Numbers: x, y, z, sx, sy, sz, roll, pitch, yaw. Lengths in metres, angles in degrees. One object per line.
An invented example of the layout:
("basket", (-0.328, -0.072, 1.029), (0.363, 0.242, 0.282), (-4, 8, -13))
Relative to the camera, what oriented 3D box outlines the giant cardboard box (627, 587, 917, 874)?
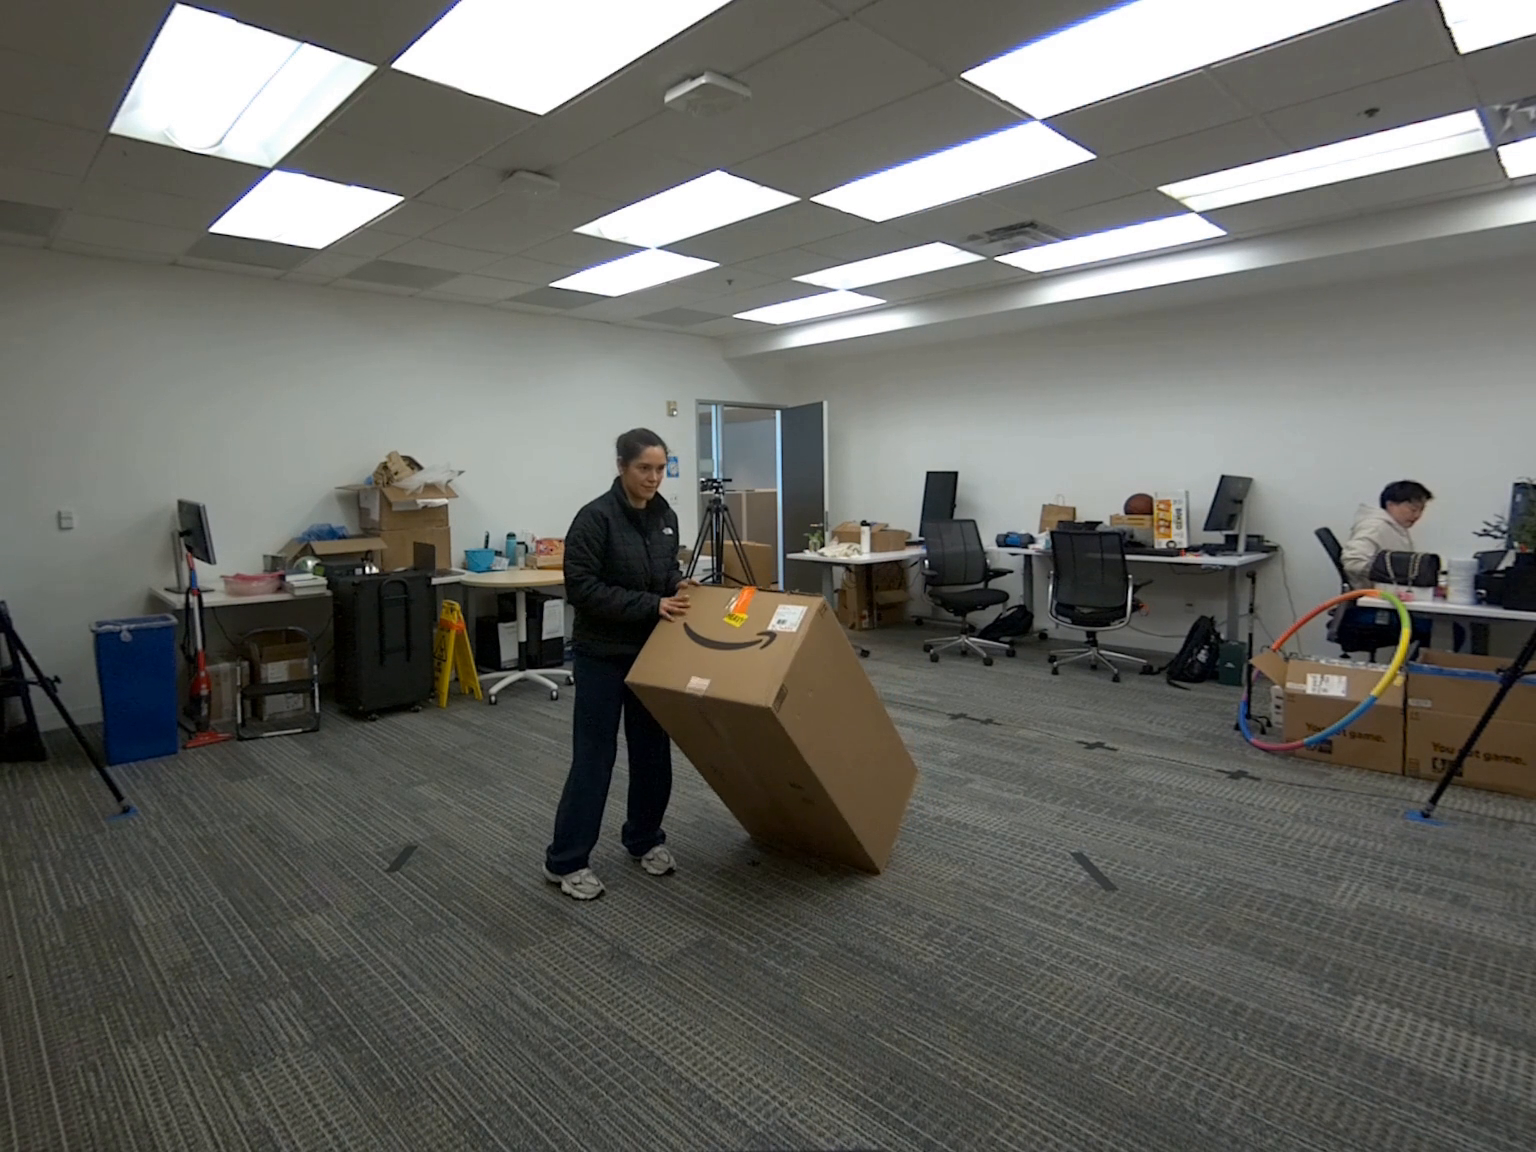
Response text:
("giant cardboard box", (0.053, 0.535, 3.007), (0.594, 0.989, 0.429), (3, 48, 35))
